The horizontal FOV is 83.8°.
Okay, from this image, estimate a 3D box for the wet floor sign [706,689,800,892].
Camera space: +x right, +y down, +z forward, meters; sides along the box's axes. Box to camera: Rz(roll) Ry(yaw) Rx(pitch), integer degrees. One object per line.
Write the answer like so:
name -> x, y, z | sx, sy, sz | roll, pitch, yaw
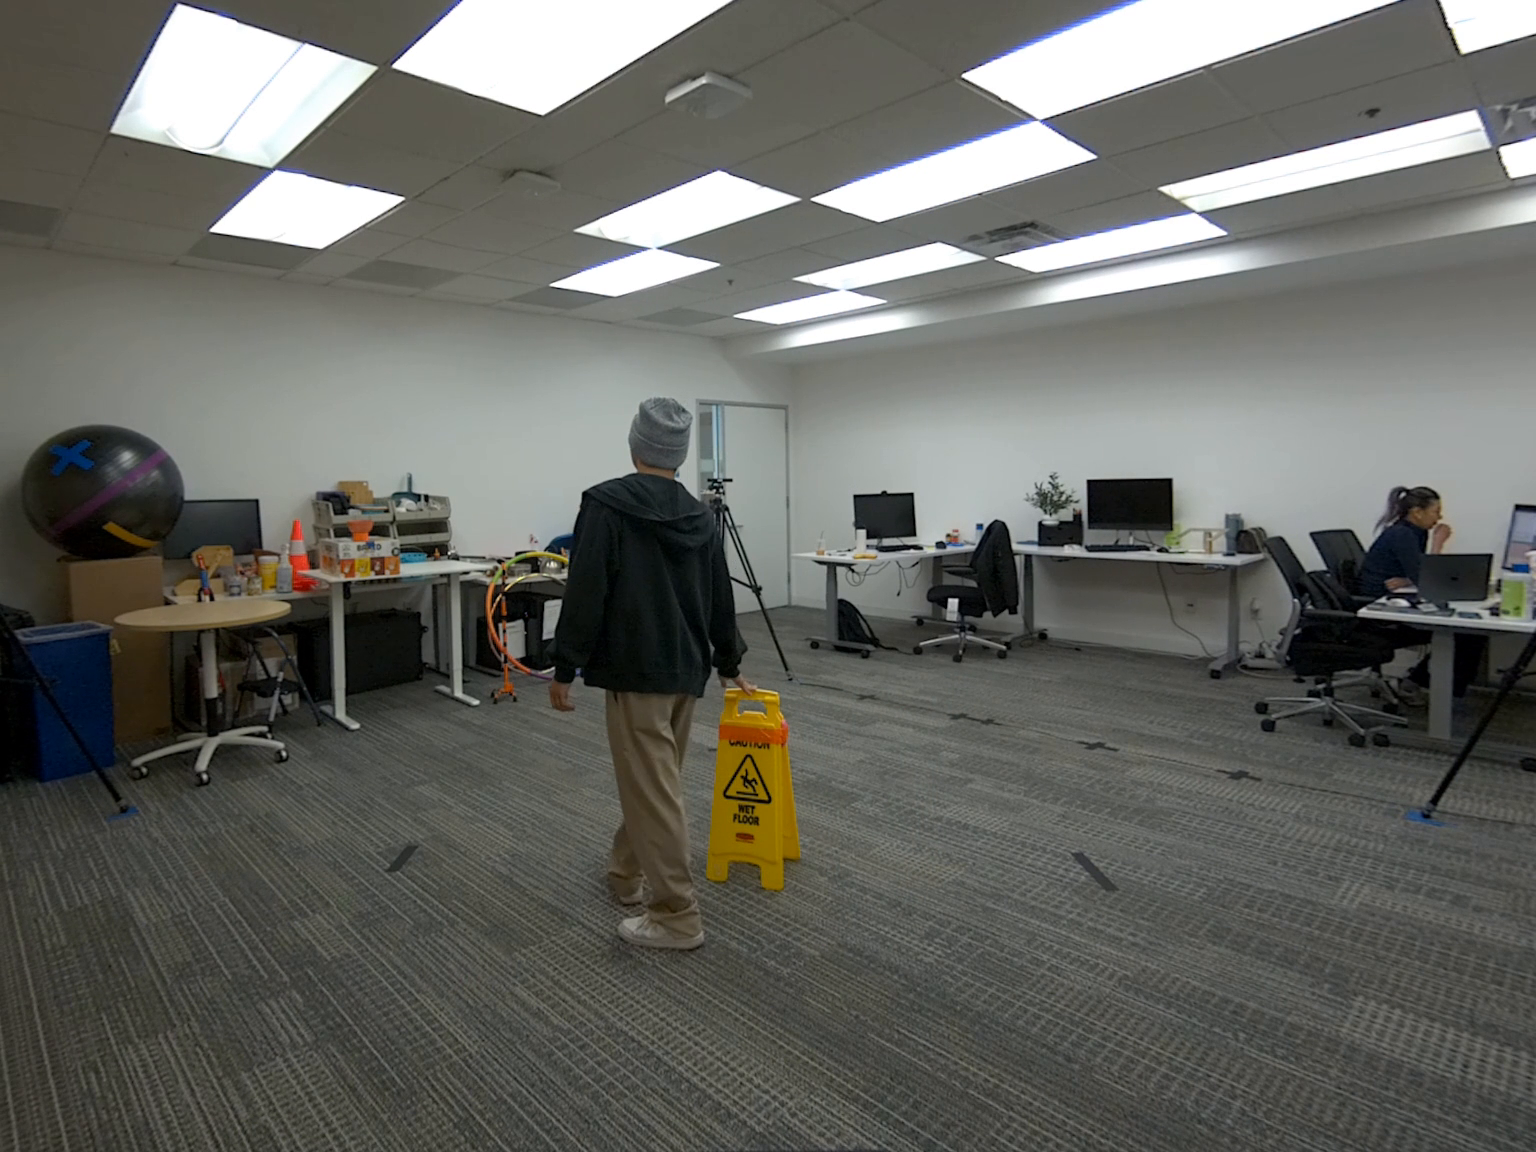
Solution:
wet floor sign -> -0.052, 0.730, 3.035 | 0.287, 0.644, 0.286 | -1, 4, 17
